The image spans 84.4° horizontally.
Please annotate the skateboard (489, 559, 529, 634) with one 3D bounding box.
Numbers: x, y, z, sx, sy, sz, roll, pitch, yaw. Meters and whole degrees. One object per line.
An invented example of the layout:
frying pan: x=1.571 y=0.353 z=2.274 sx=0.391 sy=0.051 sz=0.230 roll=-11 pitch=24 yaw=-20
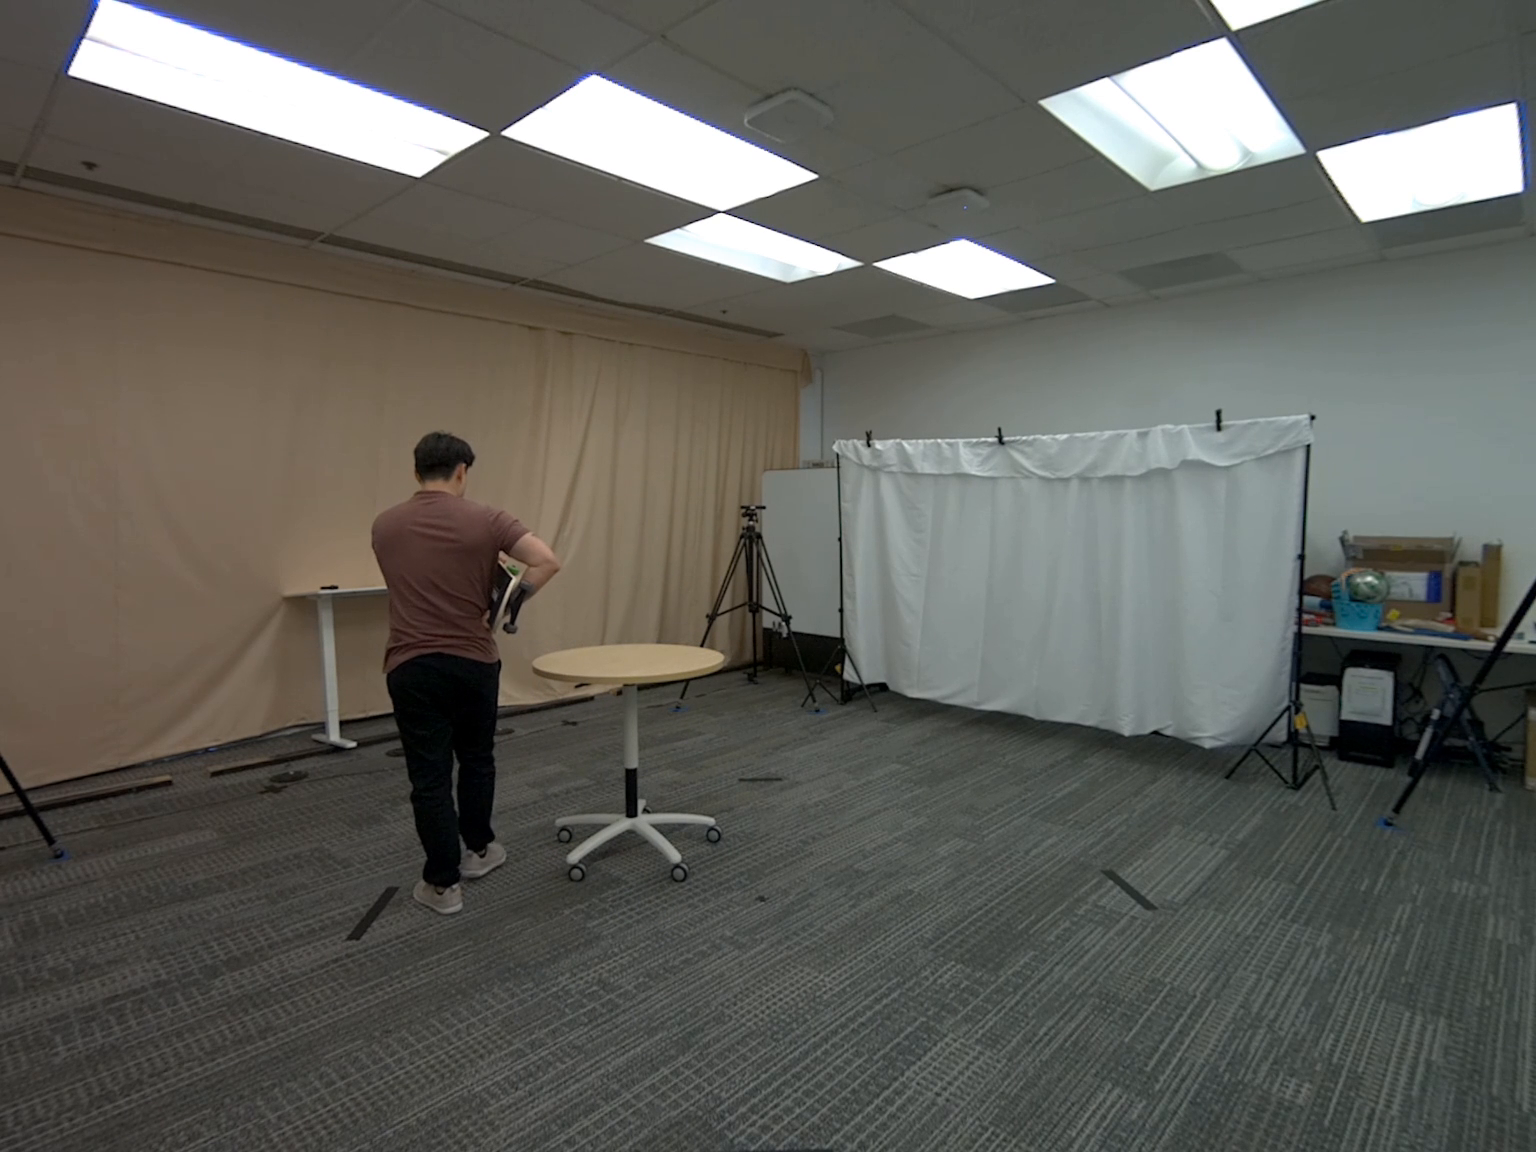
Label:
skateboard: x=-0.955 y=0.075 z=3.049 sx=0.107 sy=0.193 sz=0.805 roll=18 pitch=1 yaw=-24
